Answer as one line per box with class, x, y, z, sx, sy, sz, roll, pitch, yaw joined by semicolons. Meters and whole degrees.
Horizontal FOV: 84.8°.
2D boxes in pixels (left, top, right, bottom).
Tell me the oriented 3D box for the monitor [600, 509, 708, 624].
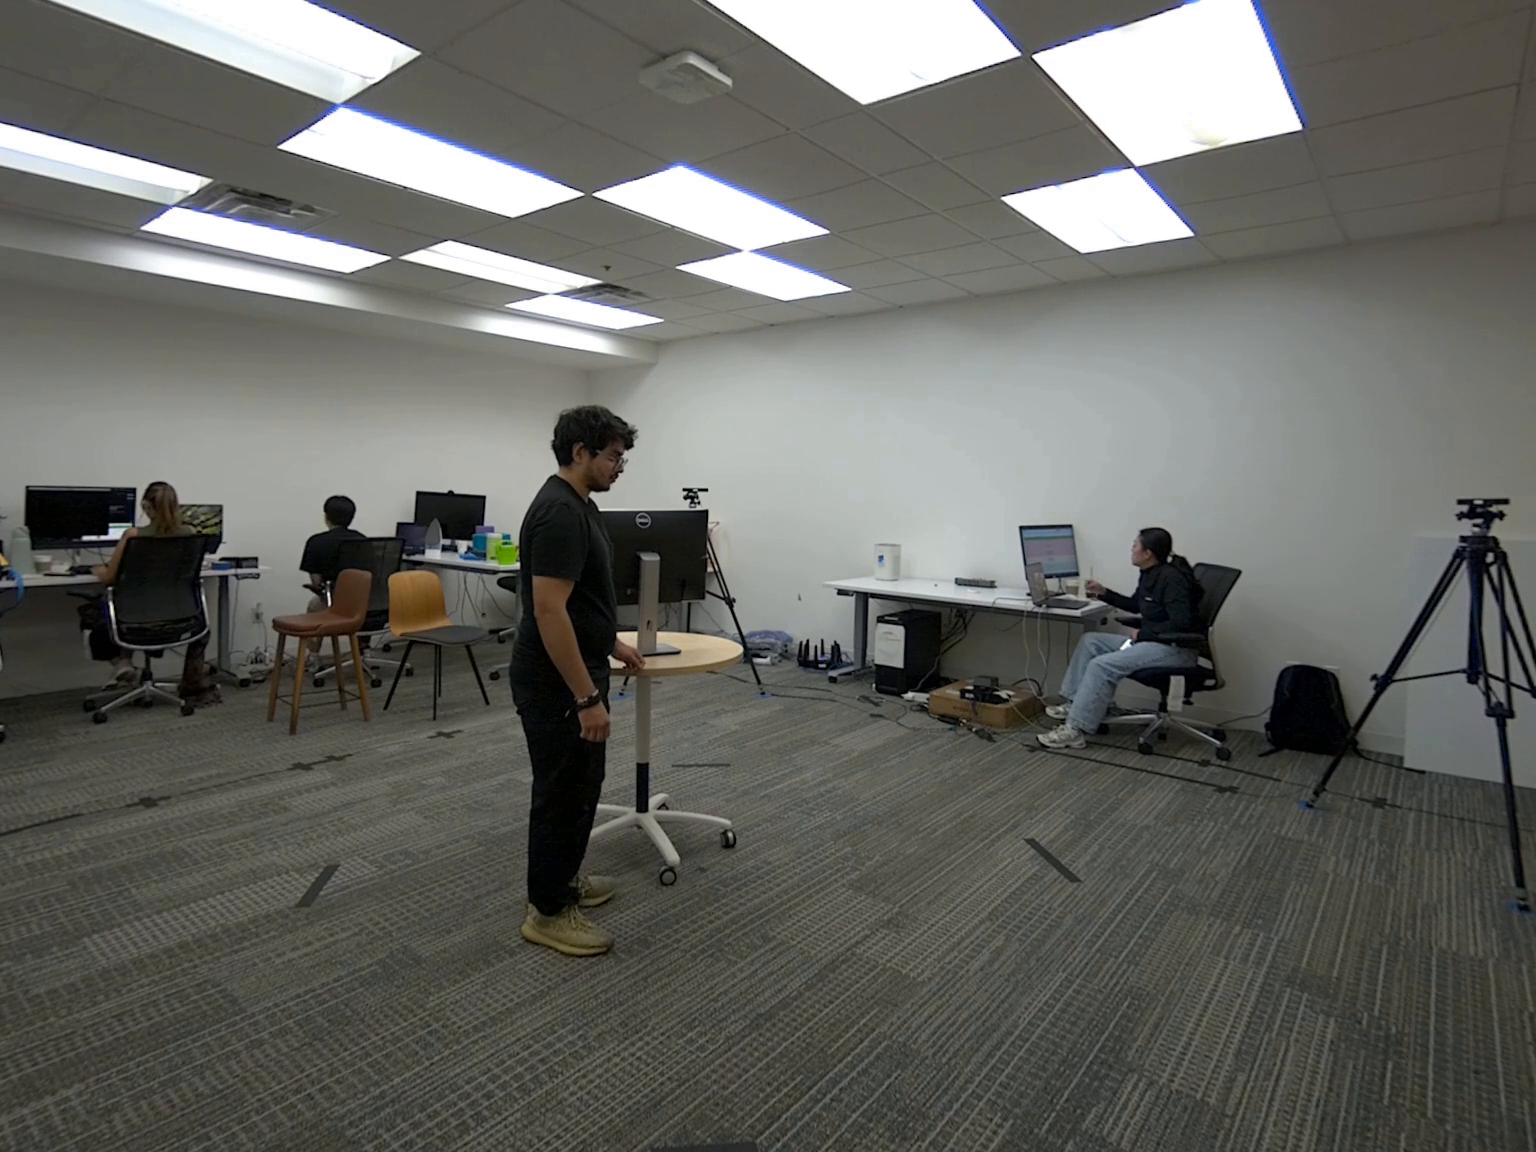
monitor;-0.467;0.021;3.154;0.552;0.551;0.216;-1;6;-25
